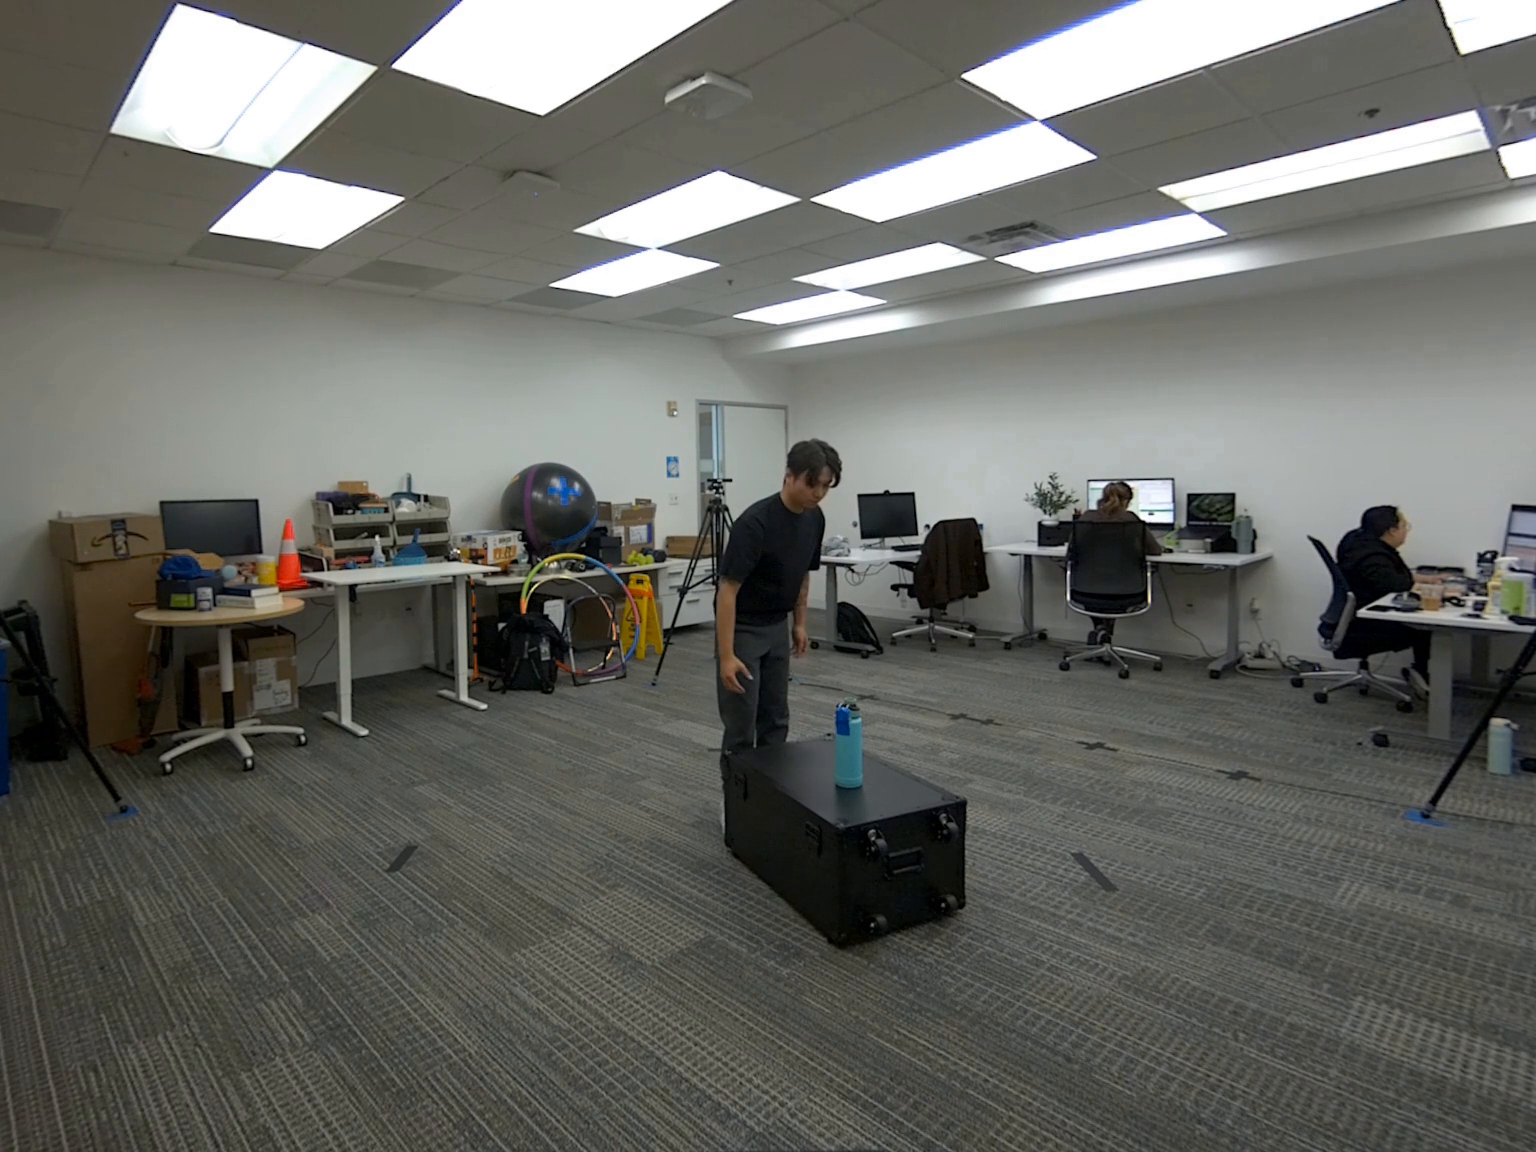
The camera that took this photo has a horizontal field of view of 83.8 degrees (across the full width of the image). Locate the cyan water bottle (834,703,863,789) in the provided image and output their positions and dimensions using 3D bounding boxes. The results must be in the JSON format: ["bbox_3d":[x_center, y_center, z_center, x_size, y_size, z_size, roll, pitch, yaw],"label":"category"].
[{"bbox_3d":[0.270,0.558,2.850,0.092,0.282,0.093,-2,5,-1],"label":"cyan water bottle"}]
